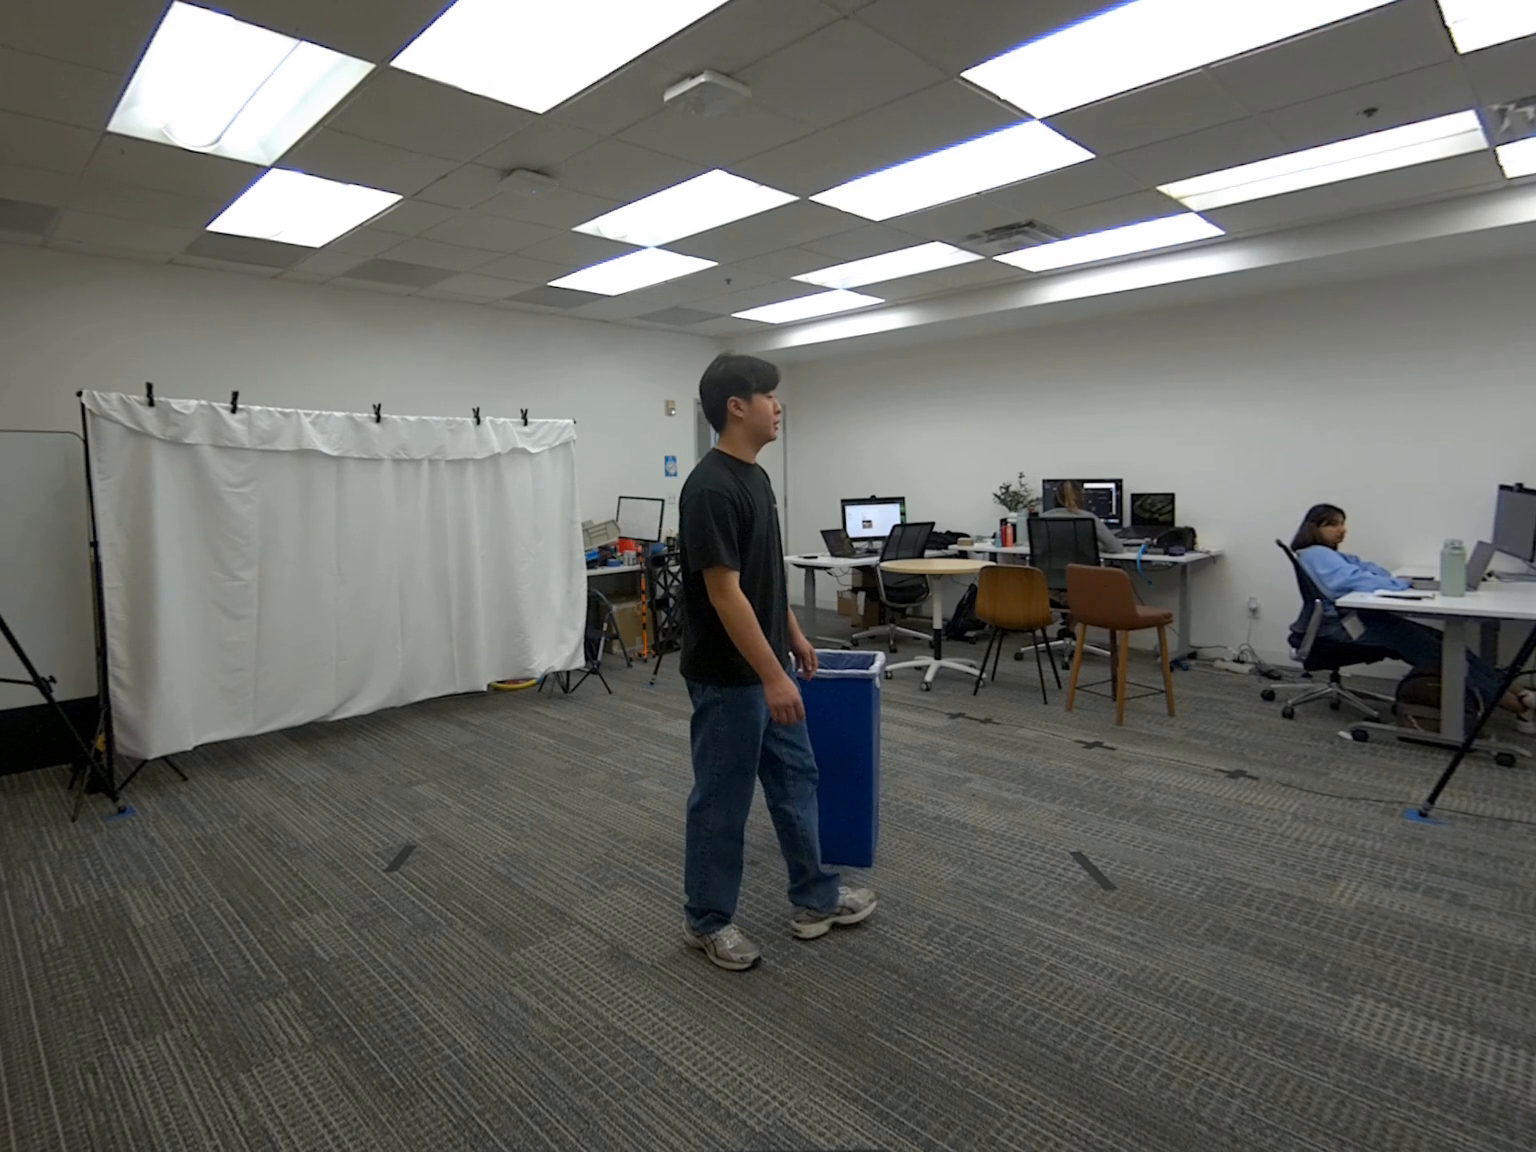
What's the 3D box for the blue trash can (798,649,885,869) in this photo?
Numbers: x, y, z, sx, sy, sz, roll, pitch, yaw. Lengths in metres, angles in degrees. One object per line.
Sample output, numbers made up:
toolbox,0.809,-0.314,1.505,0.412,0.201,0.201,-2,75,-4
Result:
blue trash can,0.257,0.667,3.216,0.379,0.711,0.374,-2,3,14
